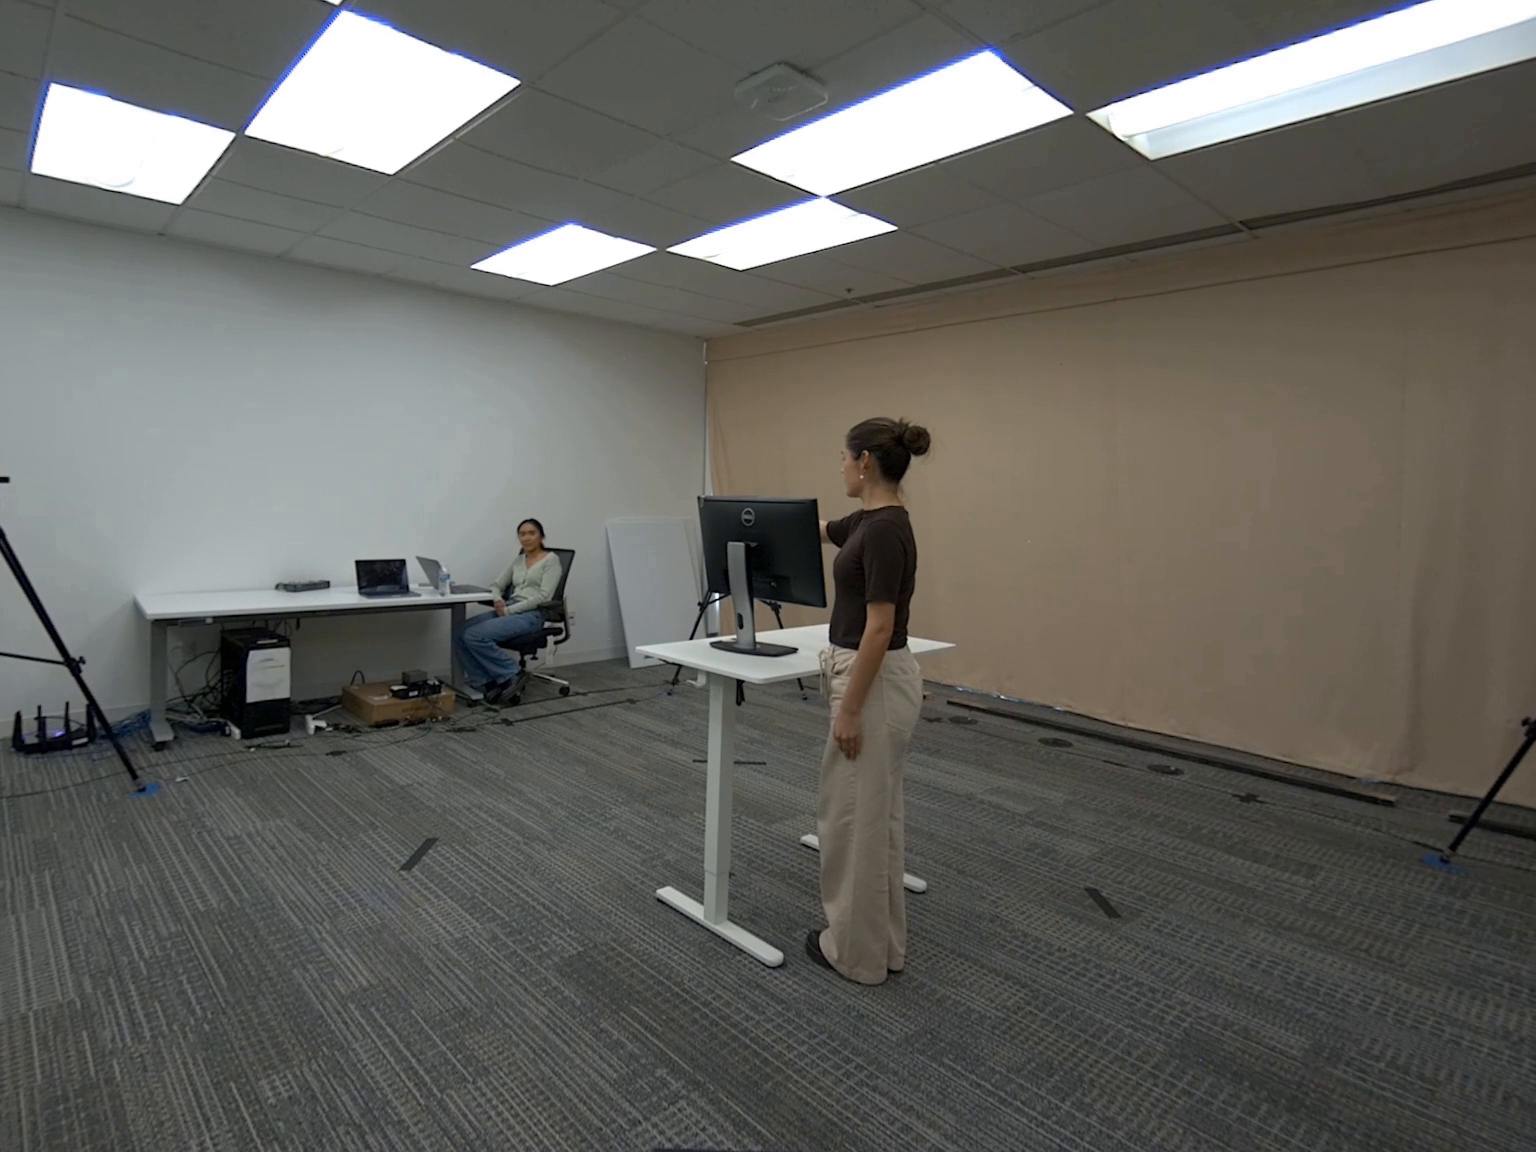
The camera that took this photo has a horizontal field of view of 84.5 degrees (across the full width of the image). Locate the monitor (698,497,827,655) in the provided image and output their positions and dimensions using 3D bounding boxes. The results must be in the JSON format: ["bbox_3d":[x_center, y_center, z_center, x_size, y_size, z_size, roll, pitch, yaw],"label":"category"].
[{"bbox_3d":[-0.051,-0.002,2.802,0.553,0.521,0.183,6,4,45],"label":"monitor"}]
